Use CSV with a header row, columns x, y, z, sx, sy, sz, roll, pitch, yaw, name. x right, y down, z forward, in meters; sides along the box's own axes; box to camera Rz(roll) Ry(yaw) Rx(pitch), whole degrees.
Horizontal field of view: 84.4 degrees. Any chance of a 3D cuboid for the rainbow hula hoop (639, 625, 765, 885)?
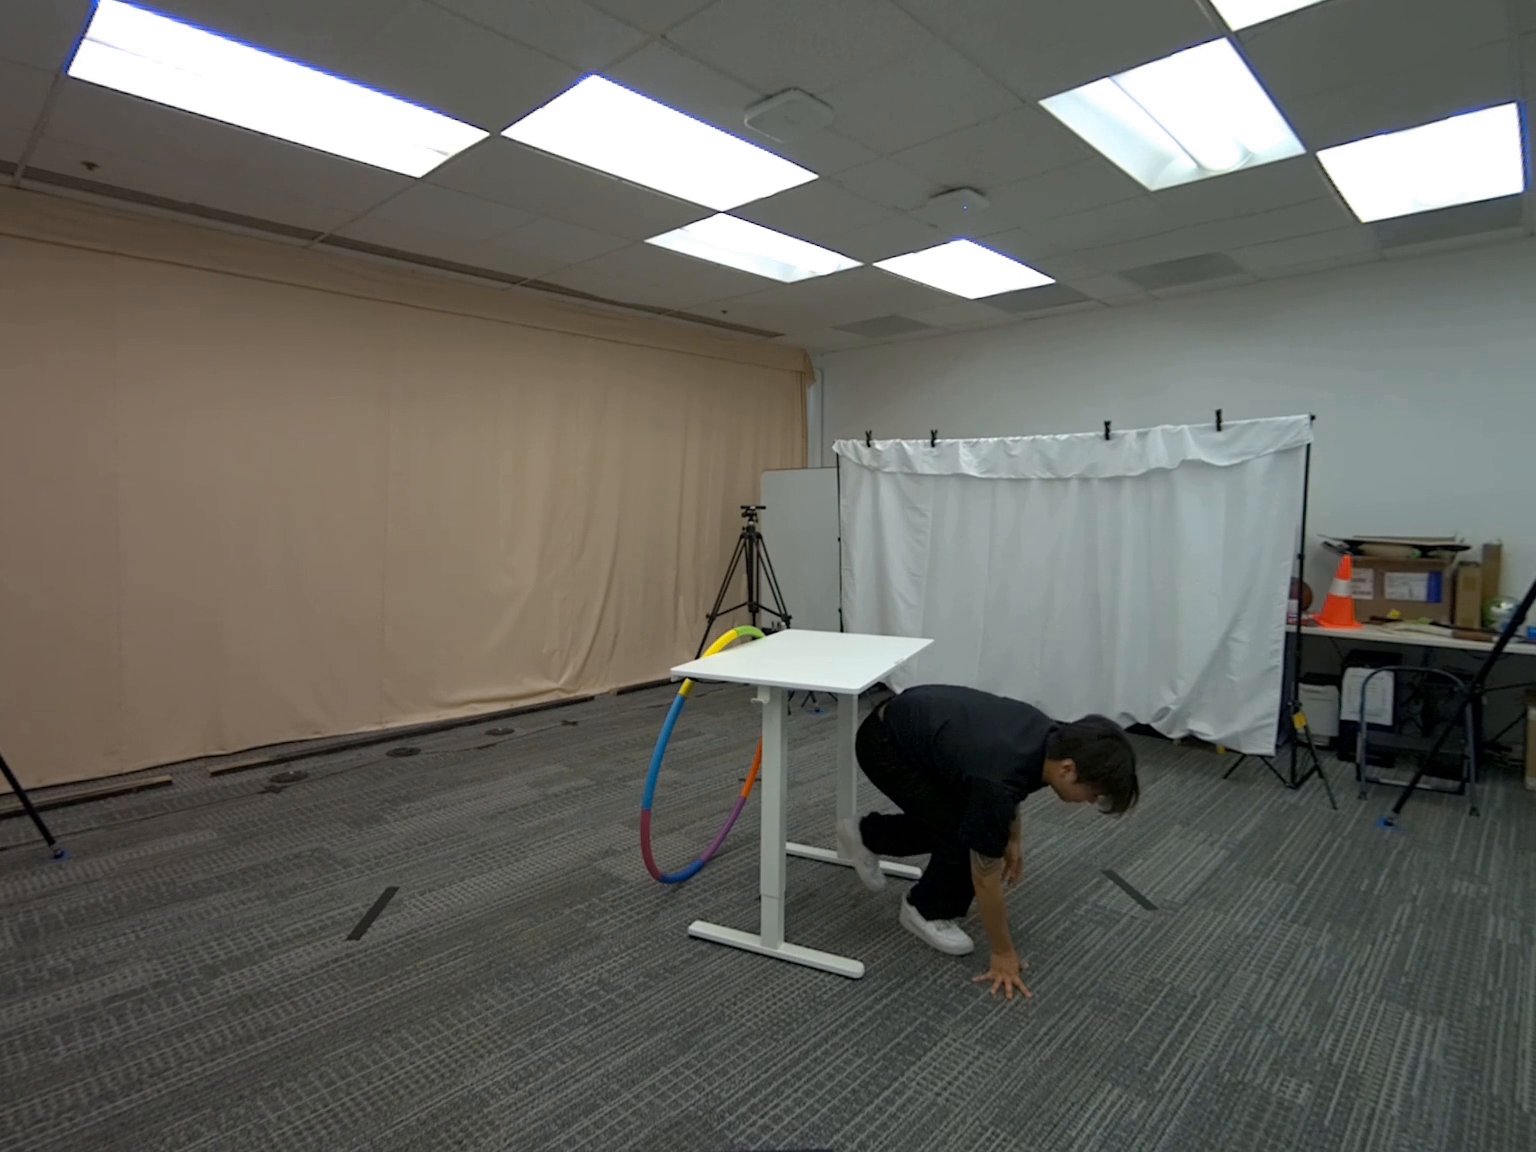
x,y,z,sx,sy,sz,roll,pitch,yaw,name
-0.191,0.660,3.137,0.036,0.975,0.956,15,9,22,rainbow hula hoop
